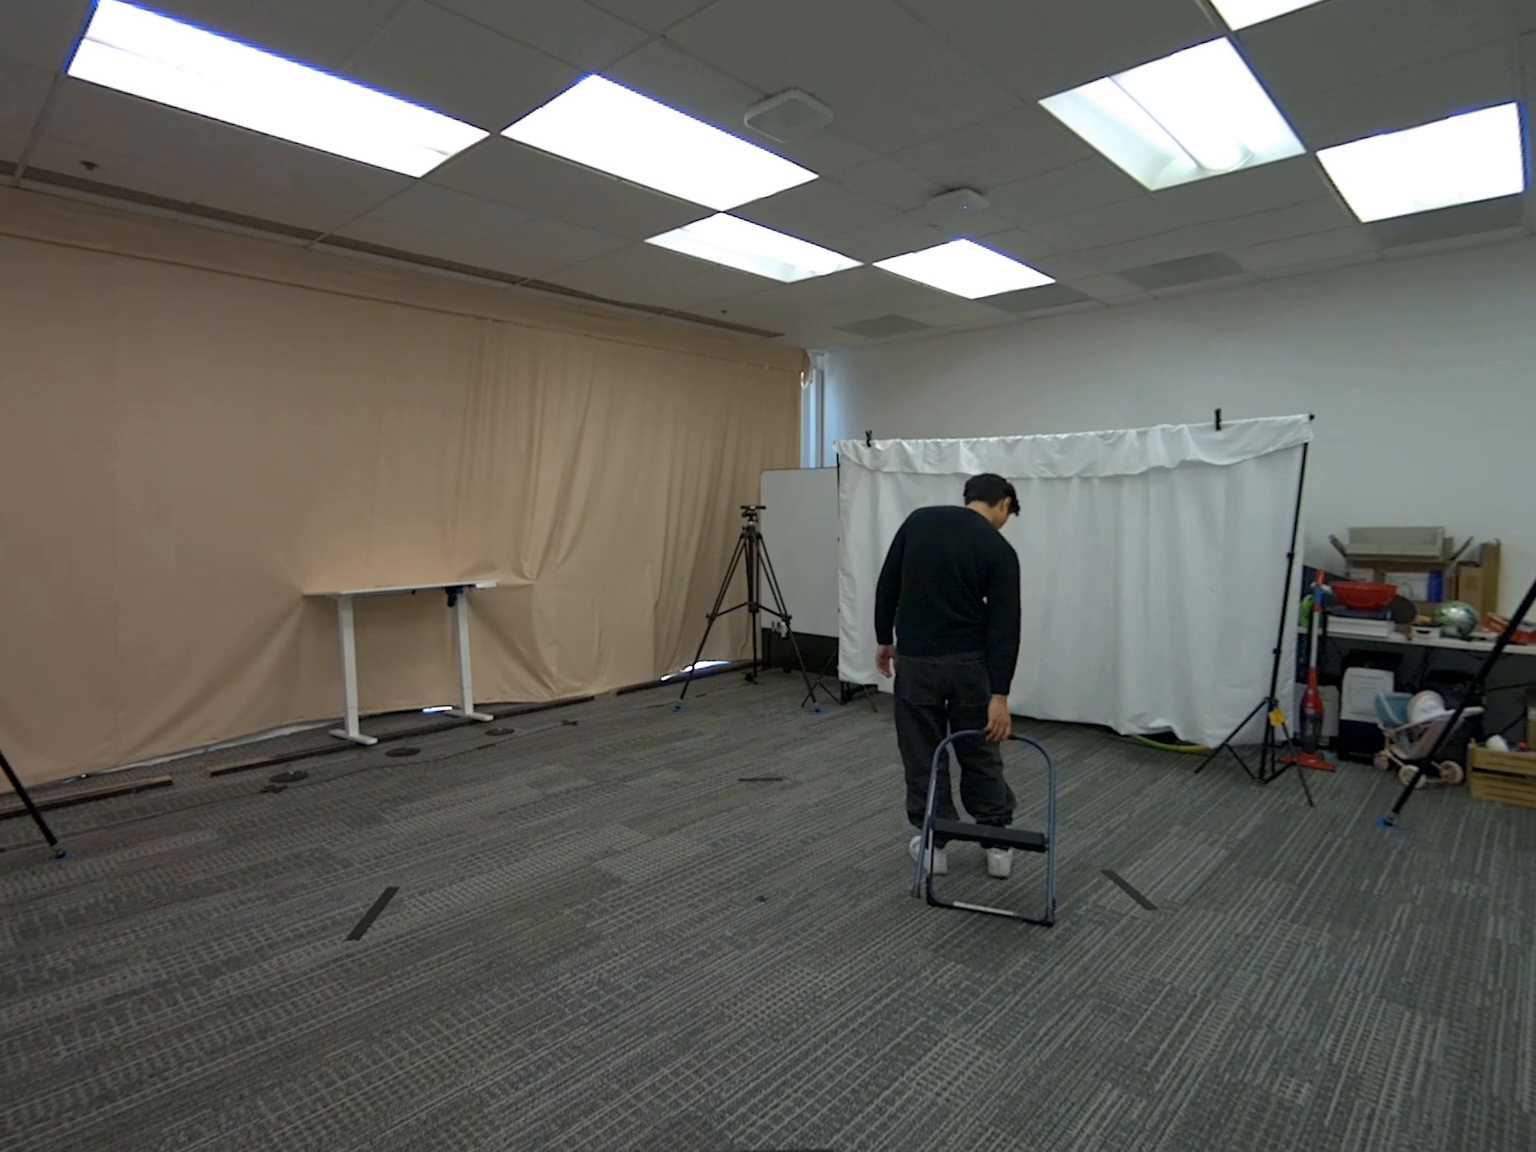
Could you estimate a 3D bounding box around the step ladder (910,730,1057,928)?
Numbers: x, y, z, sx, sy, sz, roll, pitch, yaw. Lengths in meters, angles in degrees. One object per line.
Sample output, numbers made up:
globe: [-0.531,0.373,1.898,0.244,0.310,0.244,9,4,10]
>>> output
step ladder: [0.756,0.810,2.842,0.440,0.611,0.339,2,-24,20]
